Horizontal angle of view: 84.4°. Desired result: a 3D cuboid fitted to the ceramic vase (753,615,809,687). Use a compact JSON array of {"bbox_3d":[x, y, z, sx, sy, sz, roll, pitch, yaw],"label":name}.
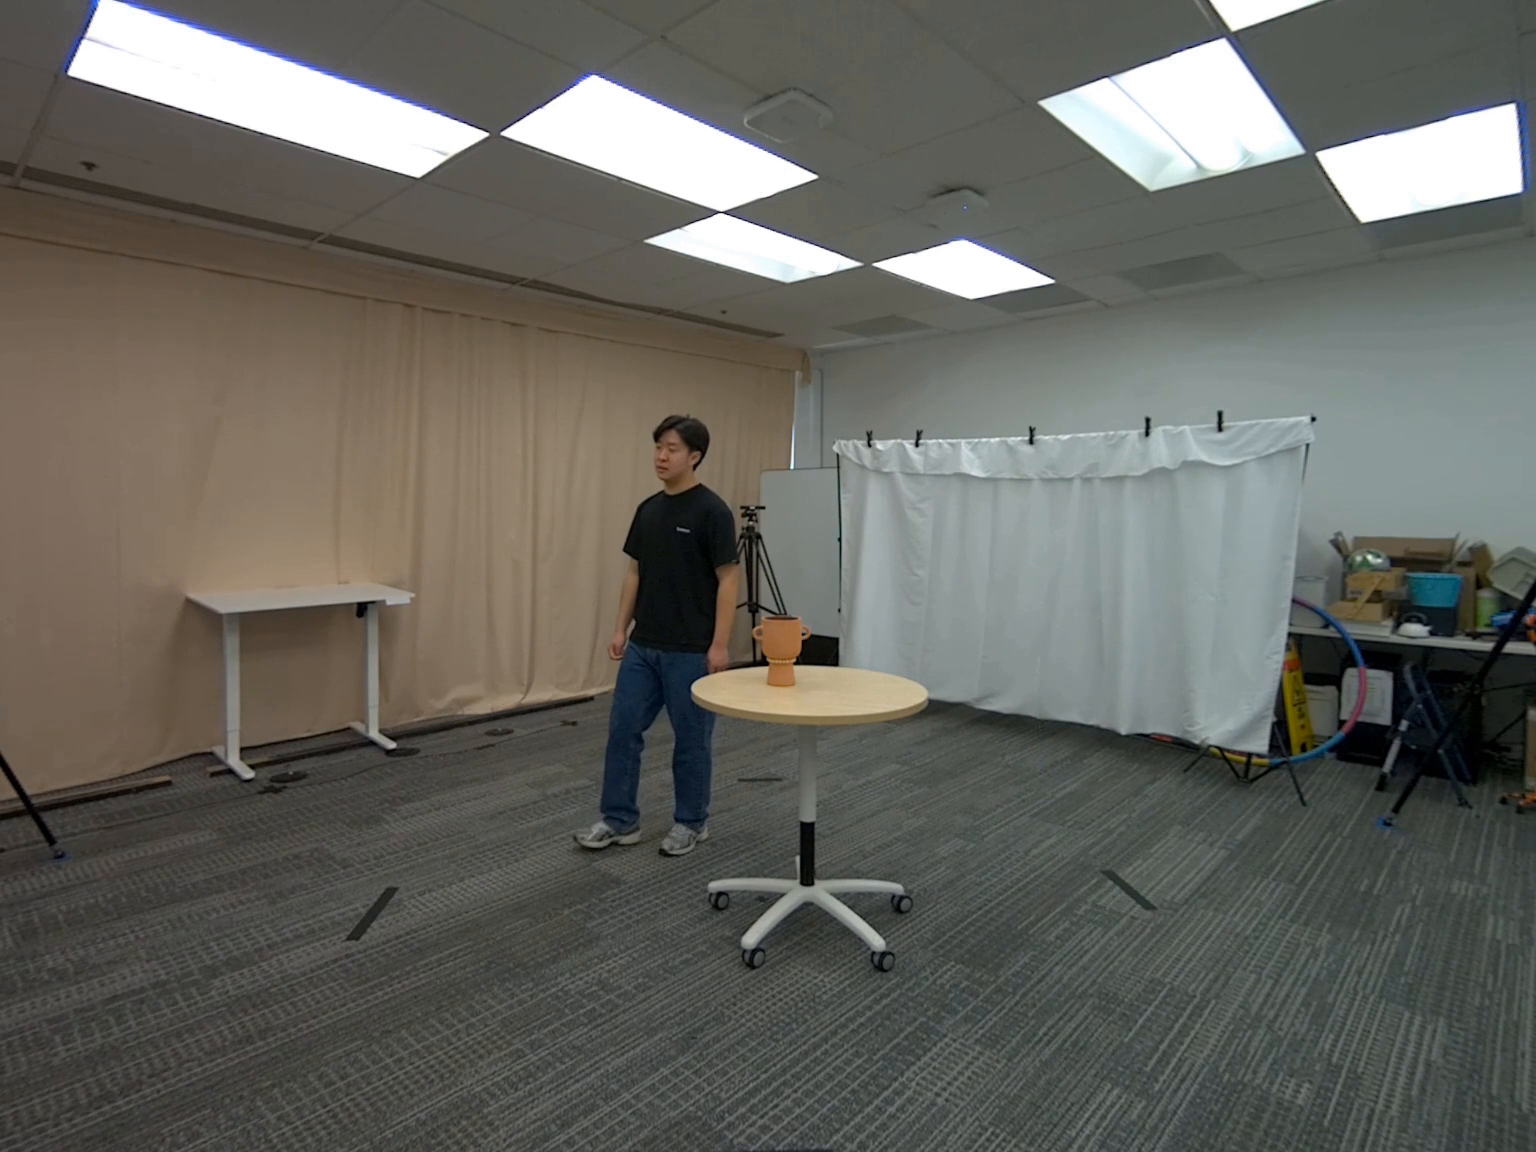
[{"bbox_3d":[0.051,0.251,2.812,0.163,0.219,0.131,1,2,27],"label":"ceramic vase"}]
